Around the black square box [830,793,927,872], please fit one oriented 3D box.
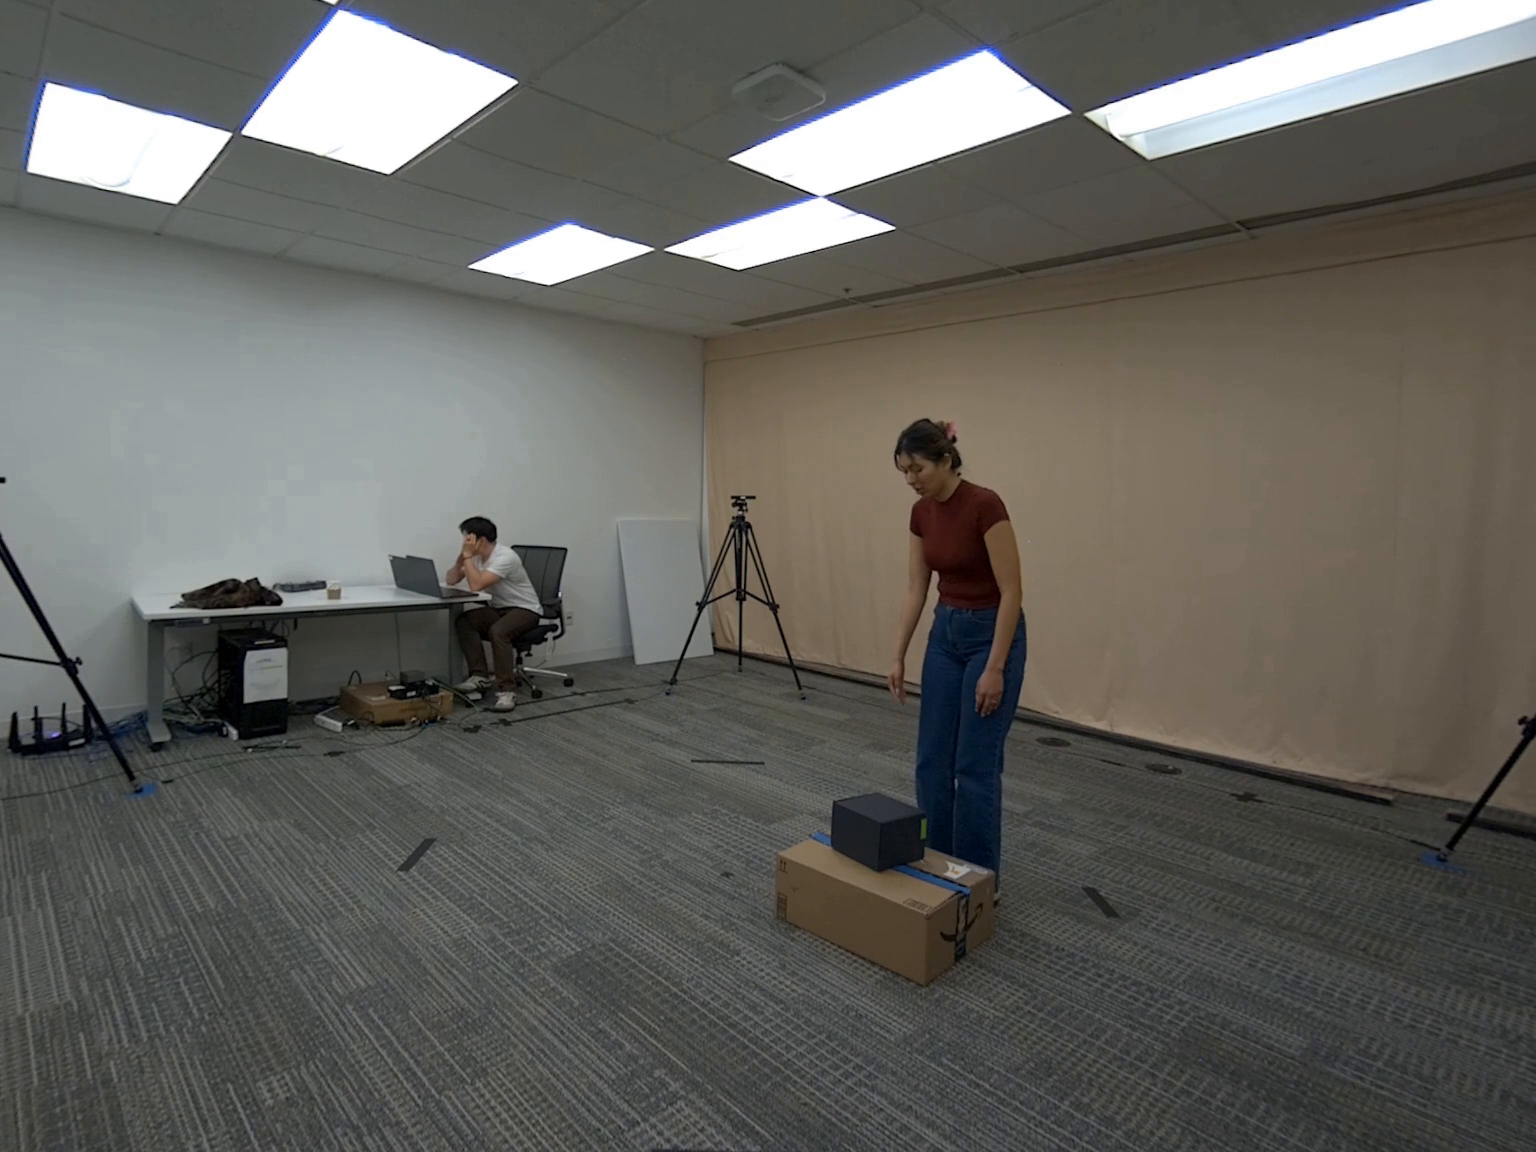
[{"bbox_3d":[0.362,0.841,2.794,0.212,0.156,0.233,1,4,-37],"label":"black square box"}]
